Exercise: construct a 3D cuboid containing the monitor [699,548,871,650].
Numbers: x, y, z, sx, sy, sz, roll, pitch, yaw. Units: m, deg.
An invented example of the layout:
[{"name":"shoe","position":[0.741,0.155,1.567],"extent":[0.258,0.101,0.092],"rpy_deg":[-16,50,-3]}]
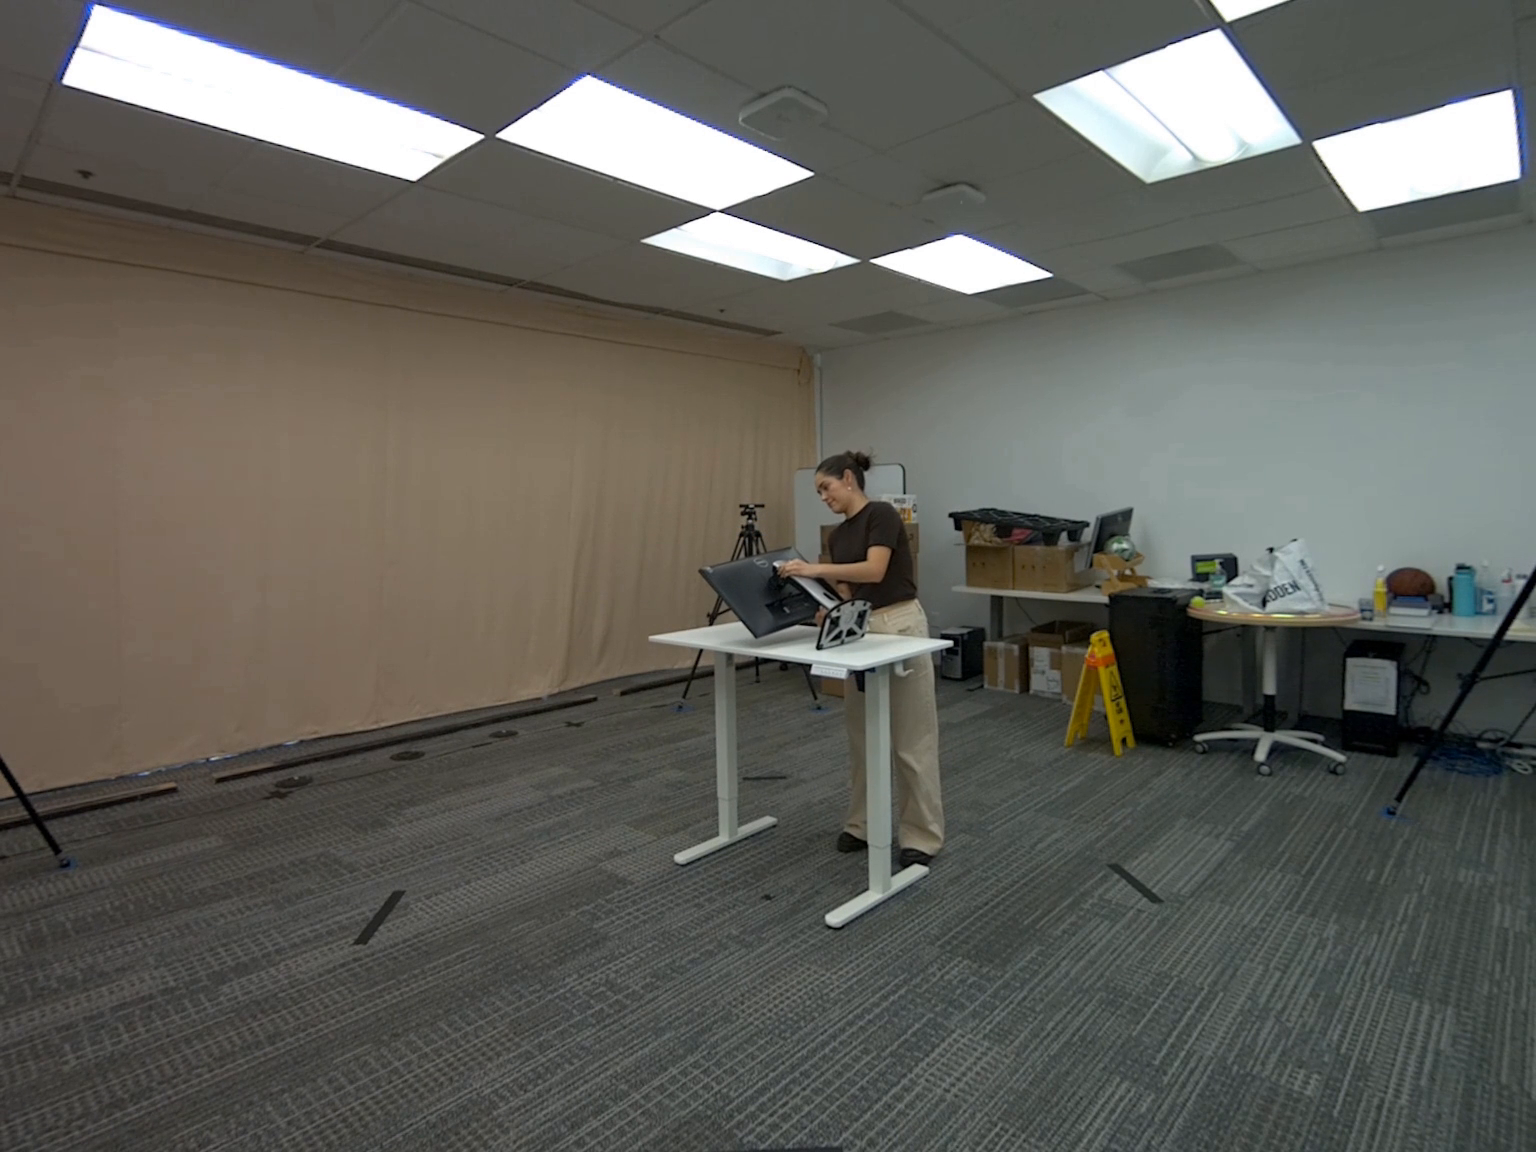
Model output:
[{"name":"monitor","position":[0.107,0.067,3.134],"extent":[0.524,0.186,0.541],"rpy_deg":[-10,33,-46]}]
